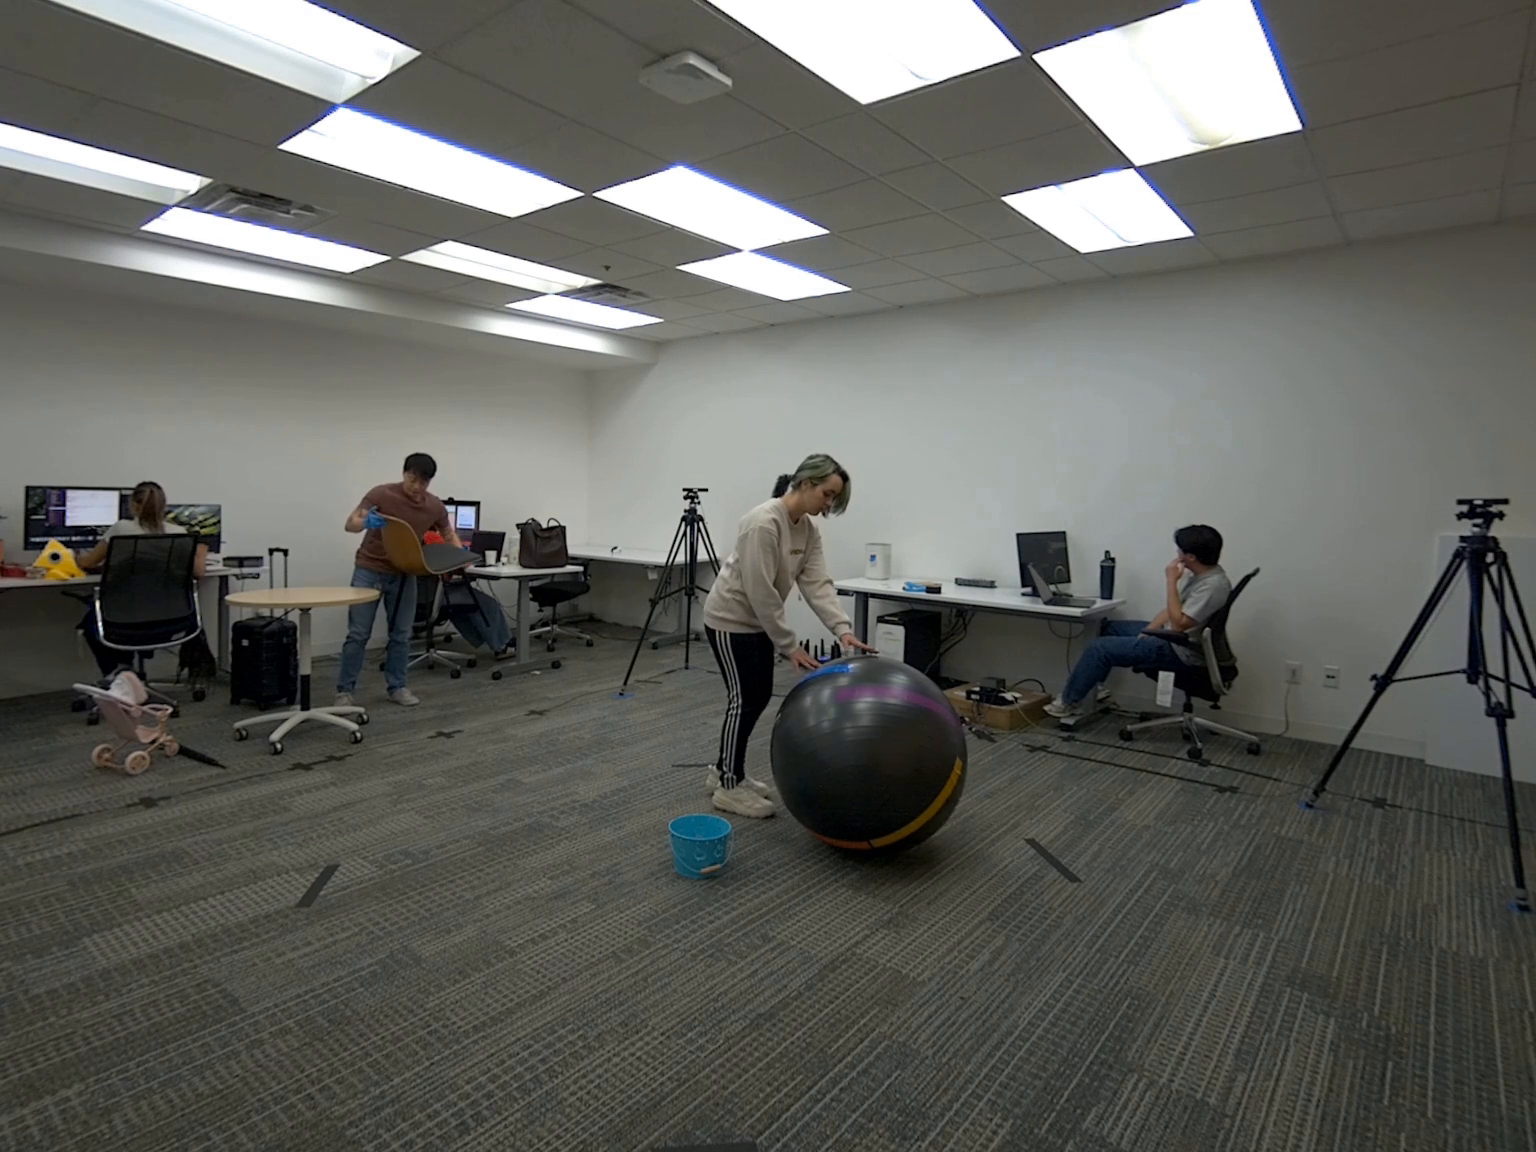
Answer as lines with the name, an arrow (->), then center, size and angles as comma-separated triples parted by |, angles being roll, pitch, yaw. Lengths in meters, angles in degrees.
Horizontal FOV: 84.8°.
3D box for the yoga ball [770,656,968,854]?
yoga ball -> 0.385, 0.690, 3.329 | 0.757, 0.755, 0.762 | 1, 4, -2
